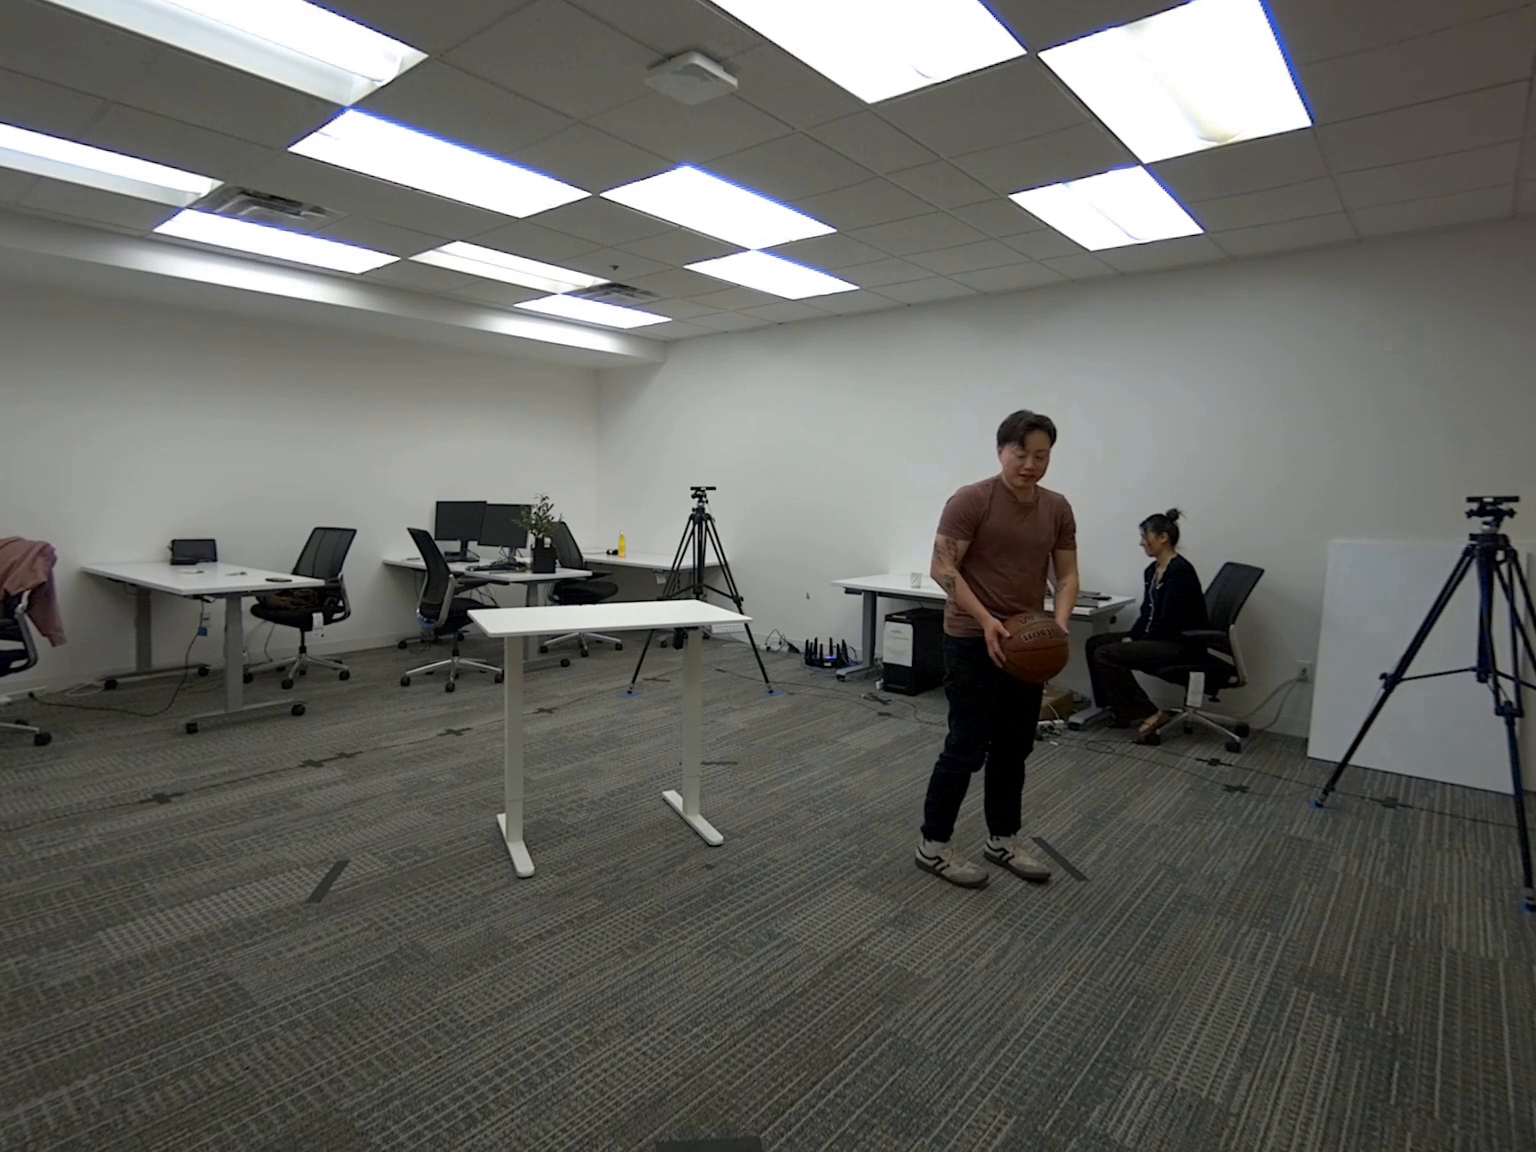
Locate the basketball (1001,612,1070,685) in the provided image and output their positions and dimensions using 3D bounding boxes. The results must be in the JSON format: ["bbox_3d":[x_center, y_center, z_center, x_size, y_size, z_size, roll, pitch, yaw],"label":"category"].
[{"bbox_3d":[0.897,0.239,2.889,0.235,0.235,0.237,1,4,-2],"label":"basketball"}]
